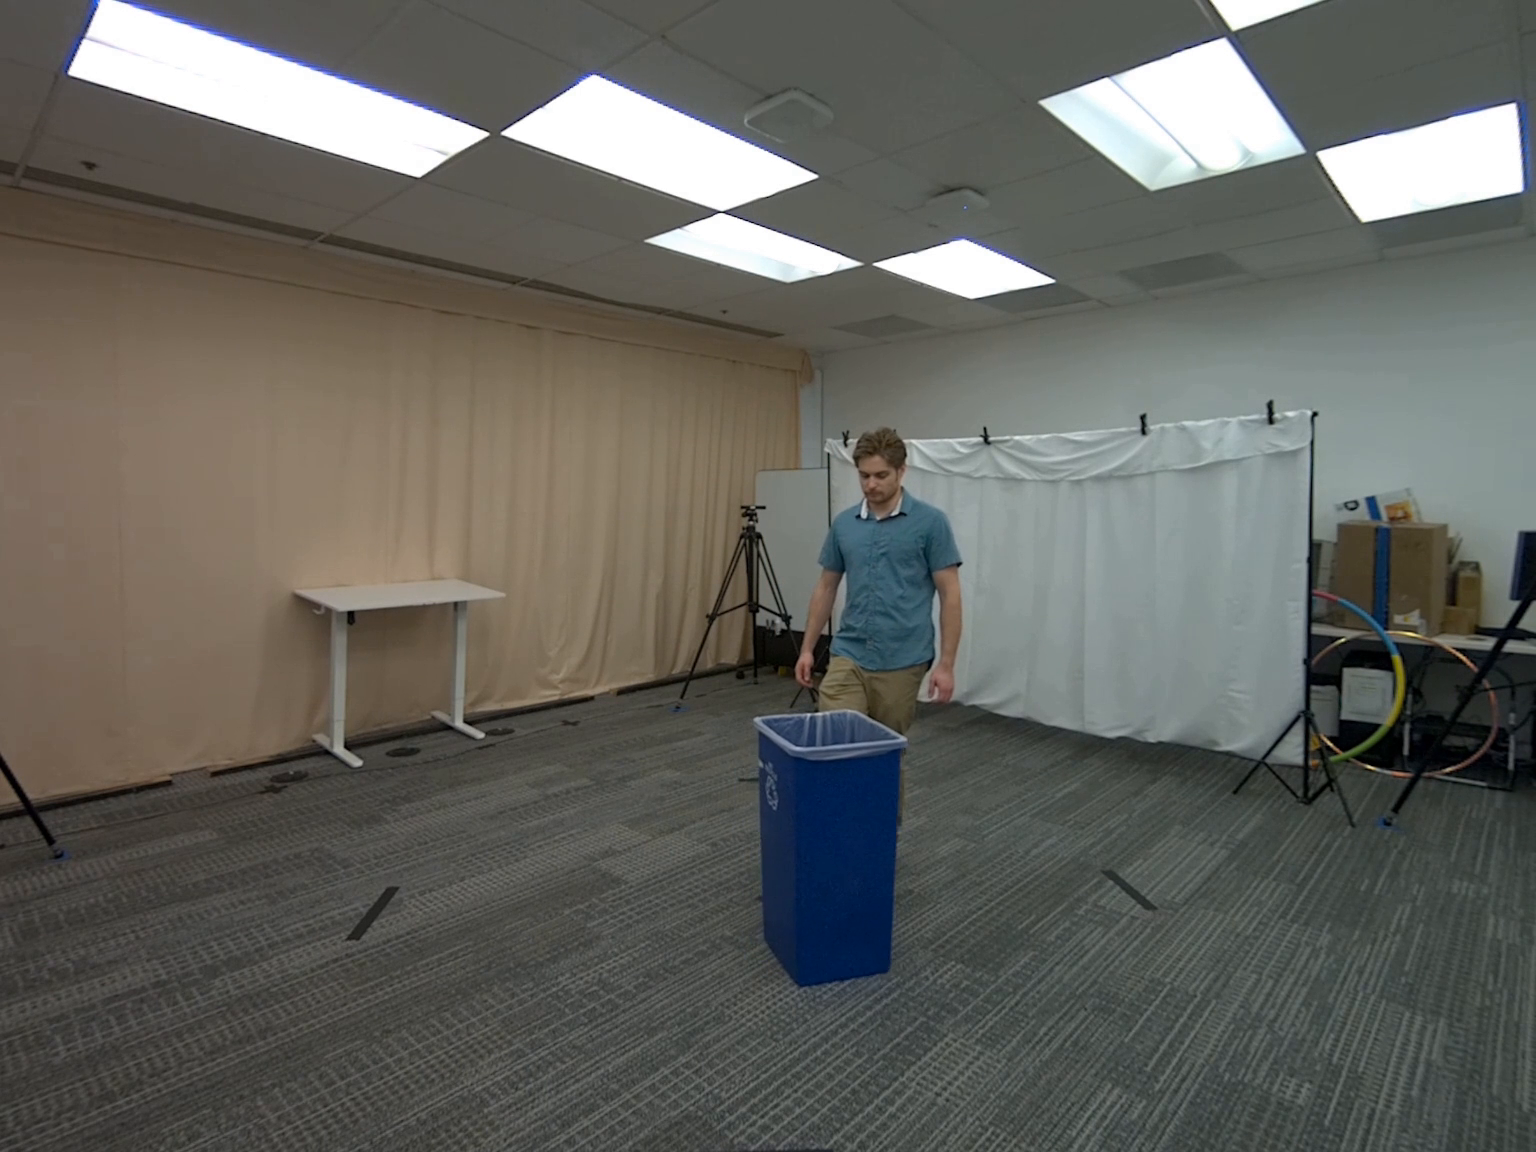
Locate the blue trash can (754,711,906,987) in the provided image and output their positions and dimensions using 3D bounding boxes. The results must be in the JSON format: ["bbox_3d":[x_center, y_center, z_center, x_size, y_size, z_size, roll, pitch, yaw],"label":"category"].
[{"bbox_3d":[0.183,0.819,2.586,0.371,0.712,0.382,-1,4,-19],"label":"blue trash can"}]
